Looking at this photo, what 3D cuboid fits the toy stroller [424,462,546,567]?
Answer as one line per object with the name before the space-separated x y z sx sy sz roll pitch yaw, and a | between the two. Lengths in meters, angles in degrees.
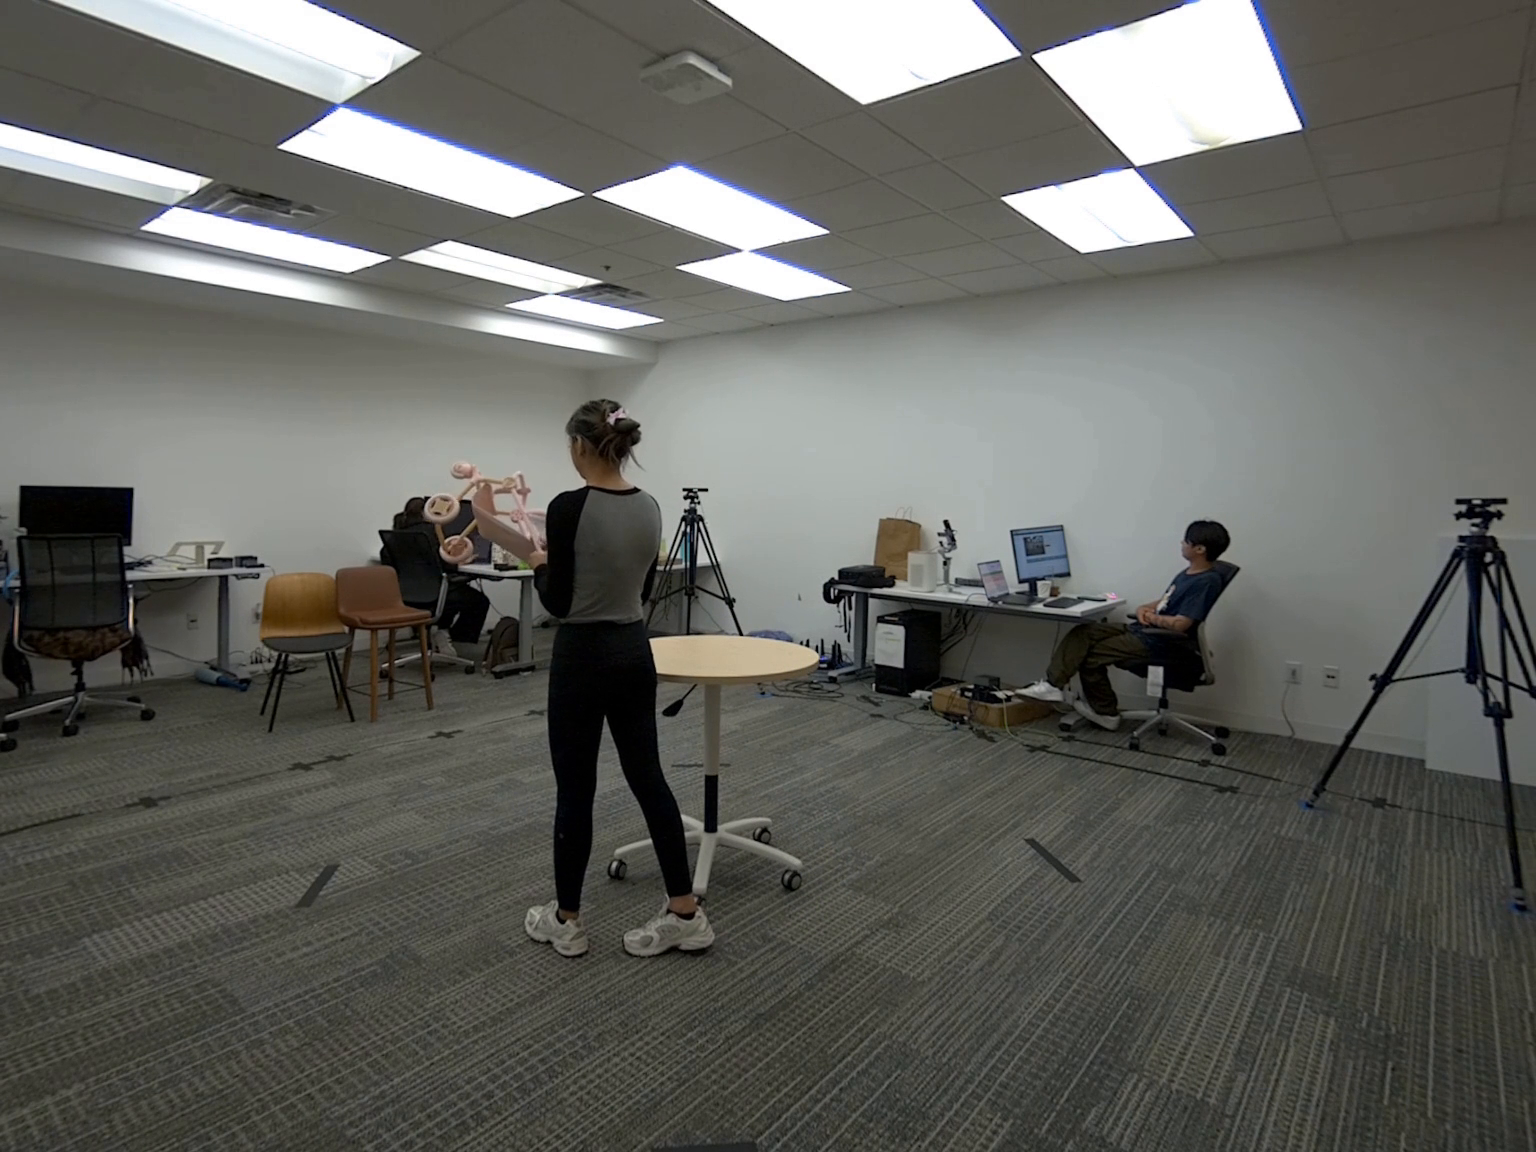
toy stroller | -0.908 -0.194 2.863 0.541 0.346 0.275 18 -36 7
